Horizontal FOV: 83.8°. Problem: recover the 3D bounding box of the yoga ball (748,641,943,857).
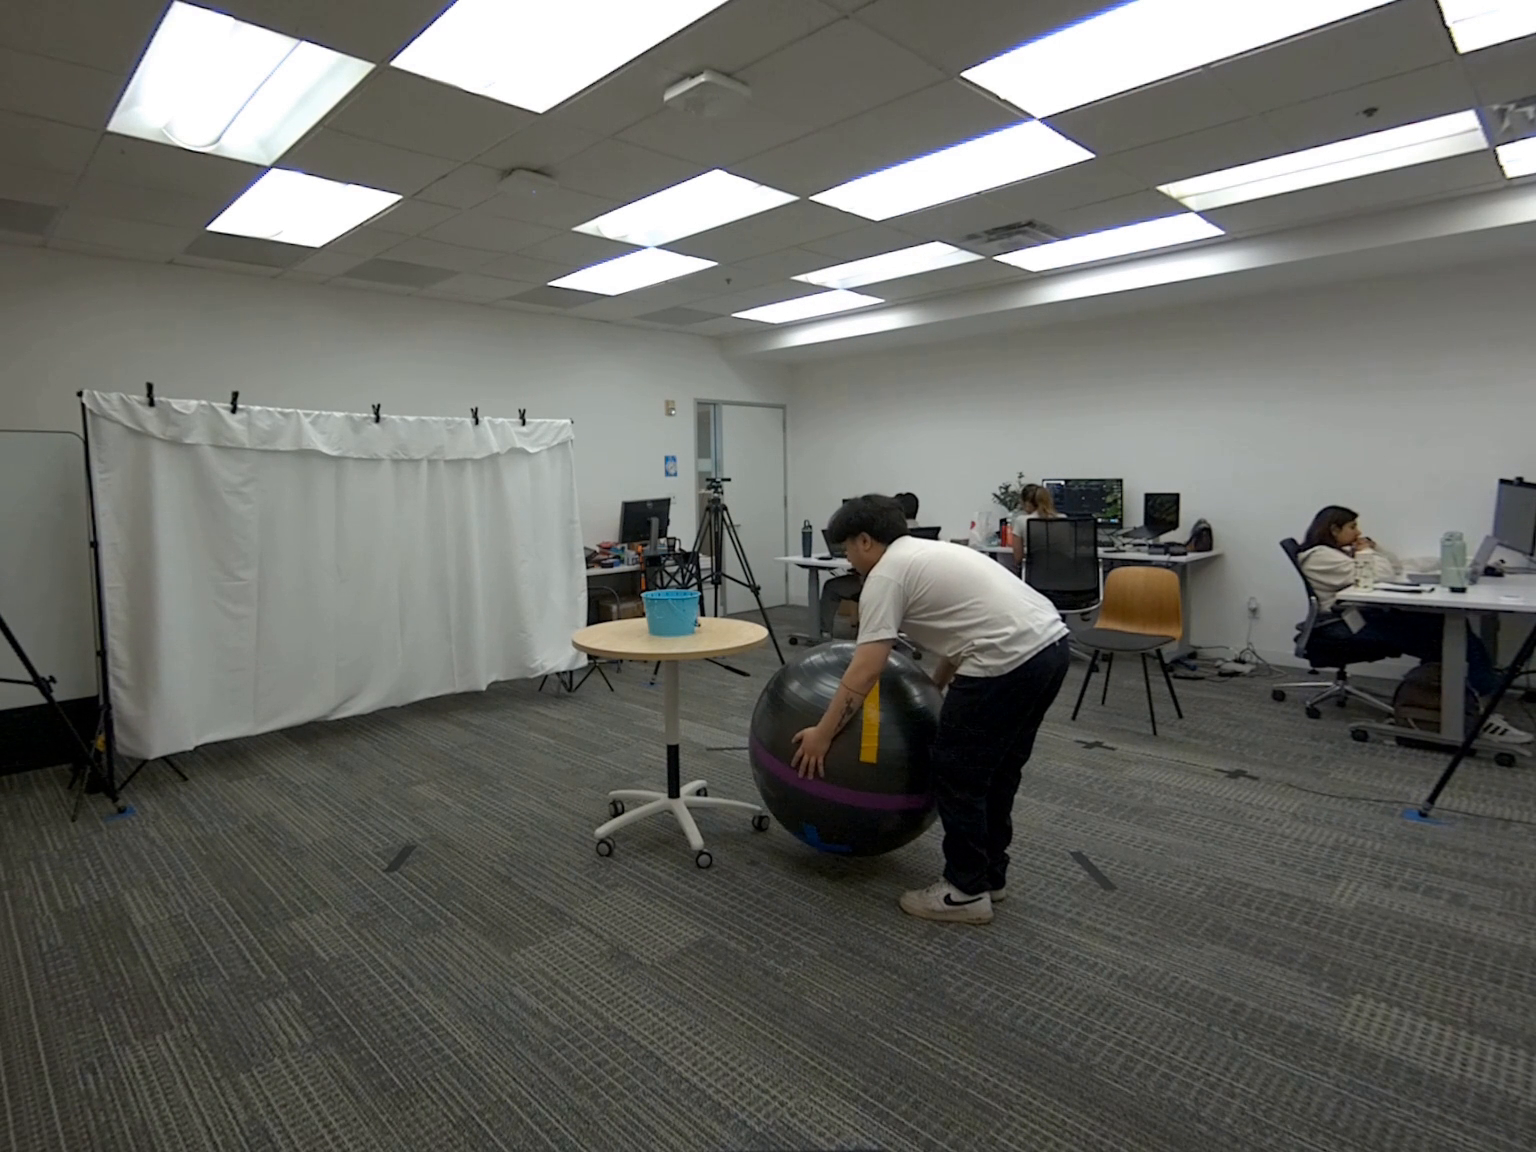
[{"bbox_3d":[0.311,0.626,3.115,0.757,0.755,0.762,-1,5,-2],"label":"yoga ball"}]
